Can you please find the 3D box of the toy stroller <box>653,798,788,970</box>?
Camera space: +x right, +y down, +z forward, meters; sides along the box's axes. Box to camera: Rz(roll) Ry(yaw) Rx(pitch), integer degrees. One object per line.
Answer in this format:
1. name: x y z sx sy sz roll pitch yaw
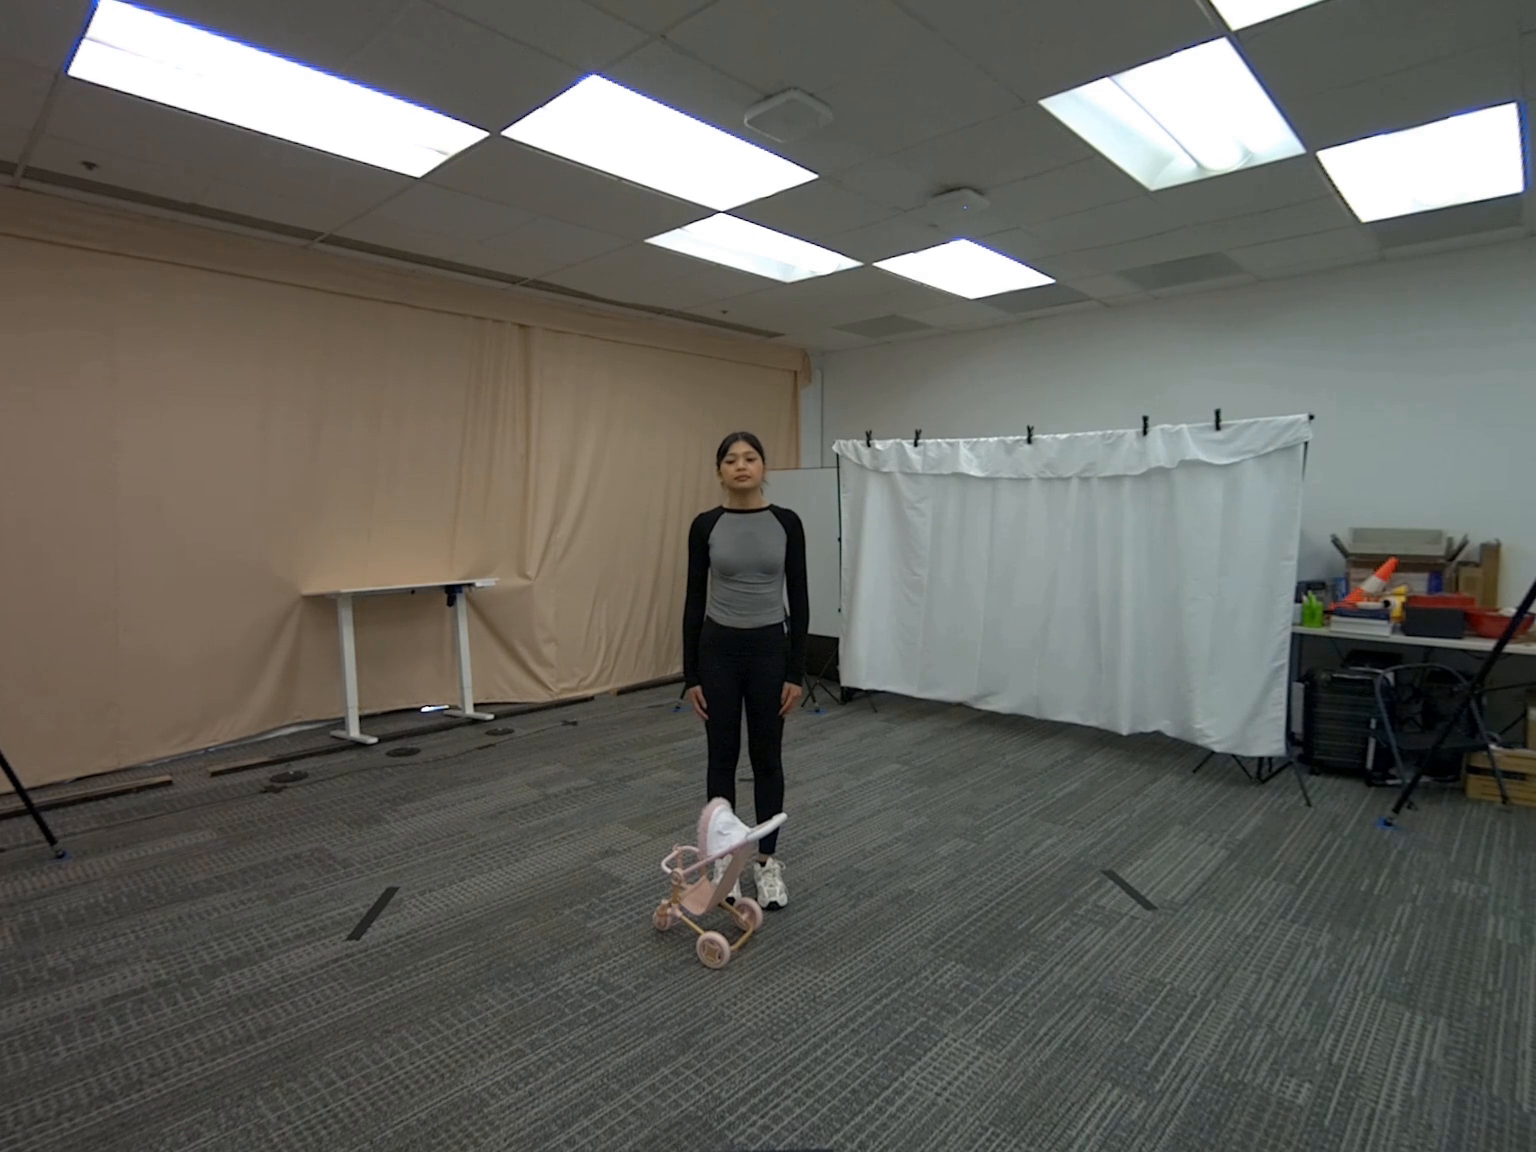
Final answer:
1. toy stroller: -0.172 0.944 2.671 0.352 0.533 0.274 19 11 27
